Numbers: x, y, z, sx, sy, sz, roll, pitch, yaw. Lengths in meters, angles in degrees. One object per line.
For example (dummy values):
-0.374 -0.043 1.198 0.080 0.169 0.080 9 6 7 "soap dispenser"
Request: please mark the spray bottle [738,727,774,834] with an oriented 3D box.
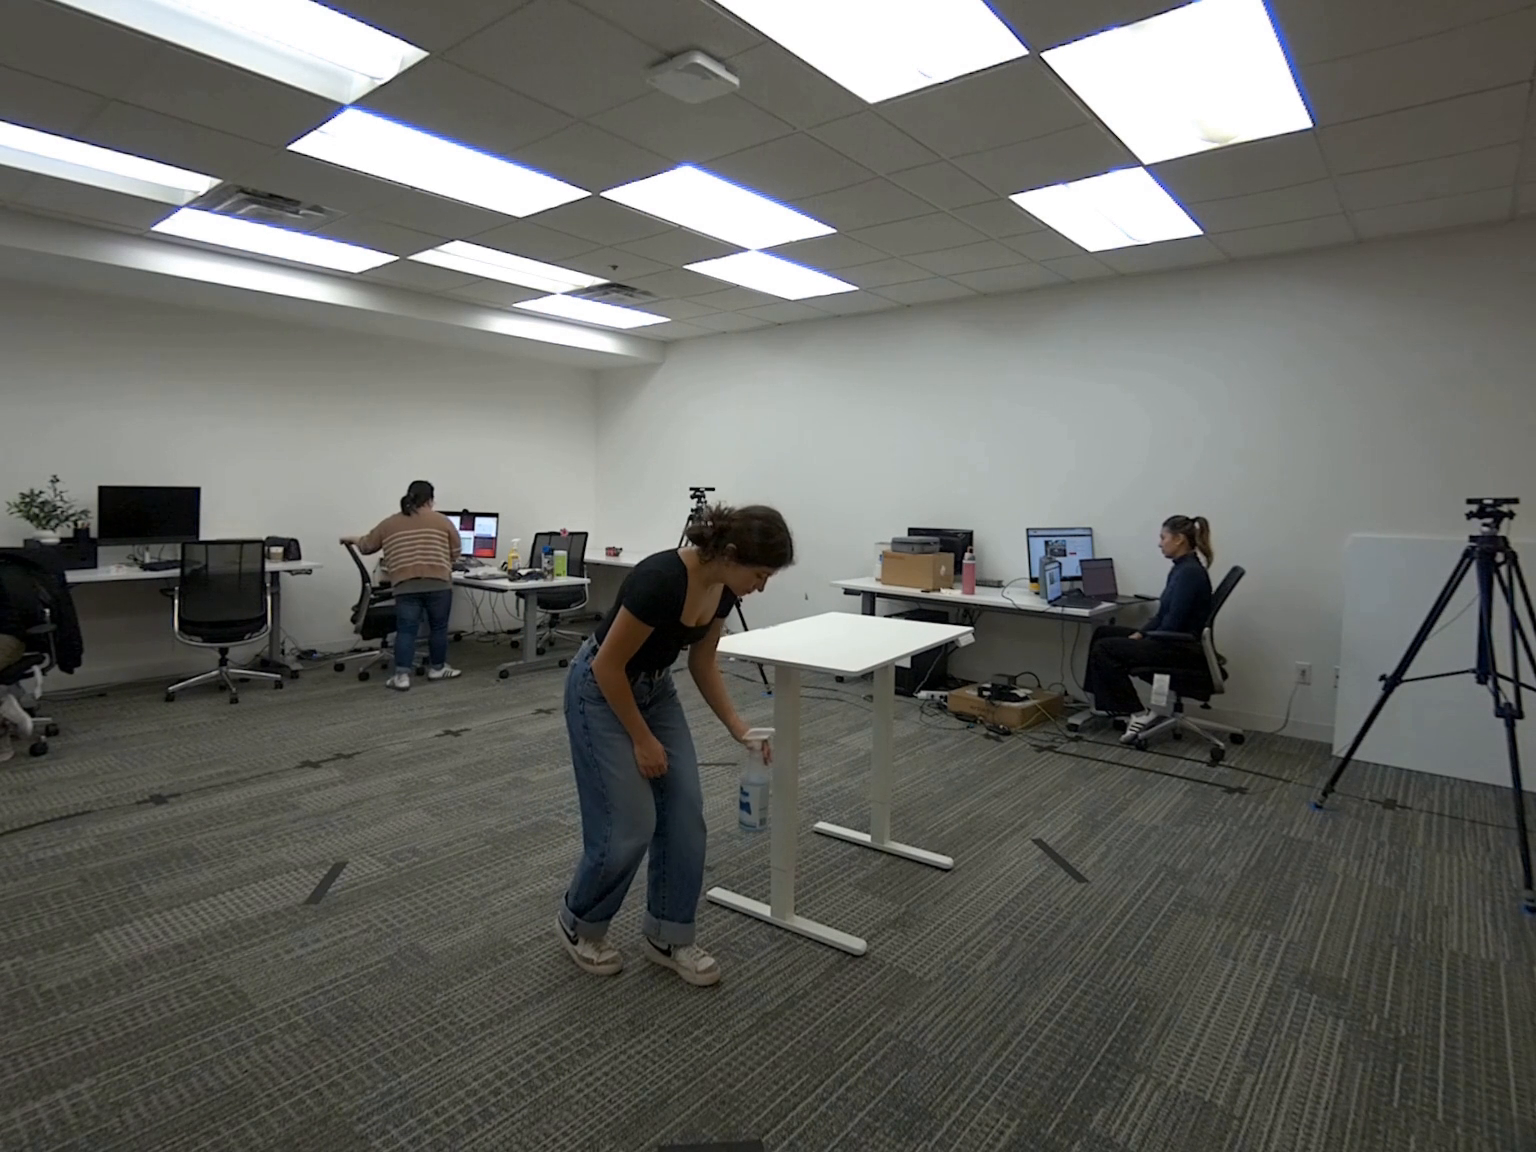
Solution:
-0.047 0.583 2.416 0.092 0.295 0.086 7 8 18 "spray bottle"
